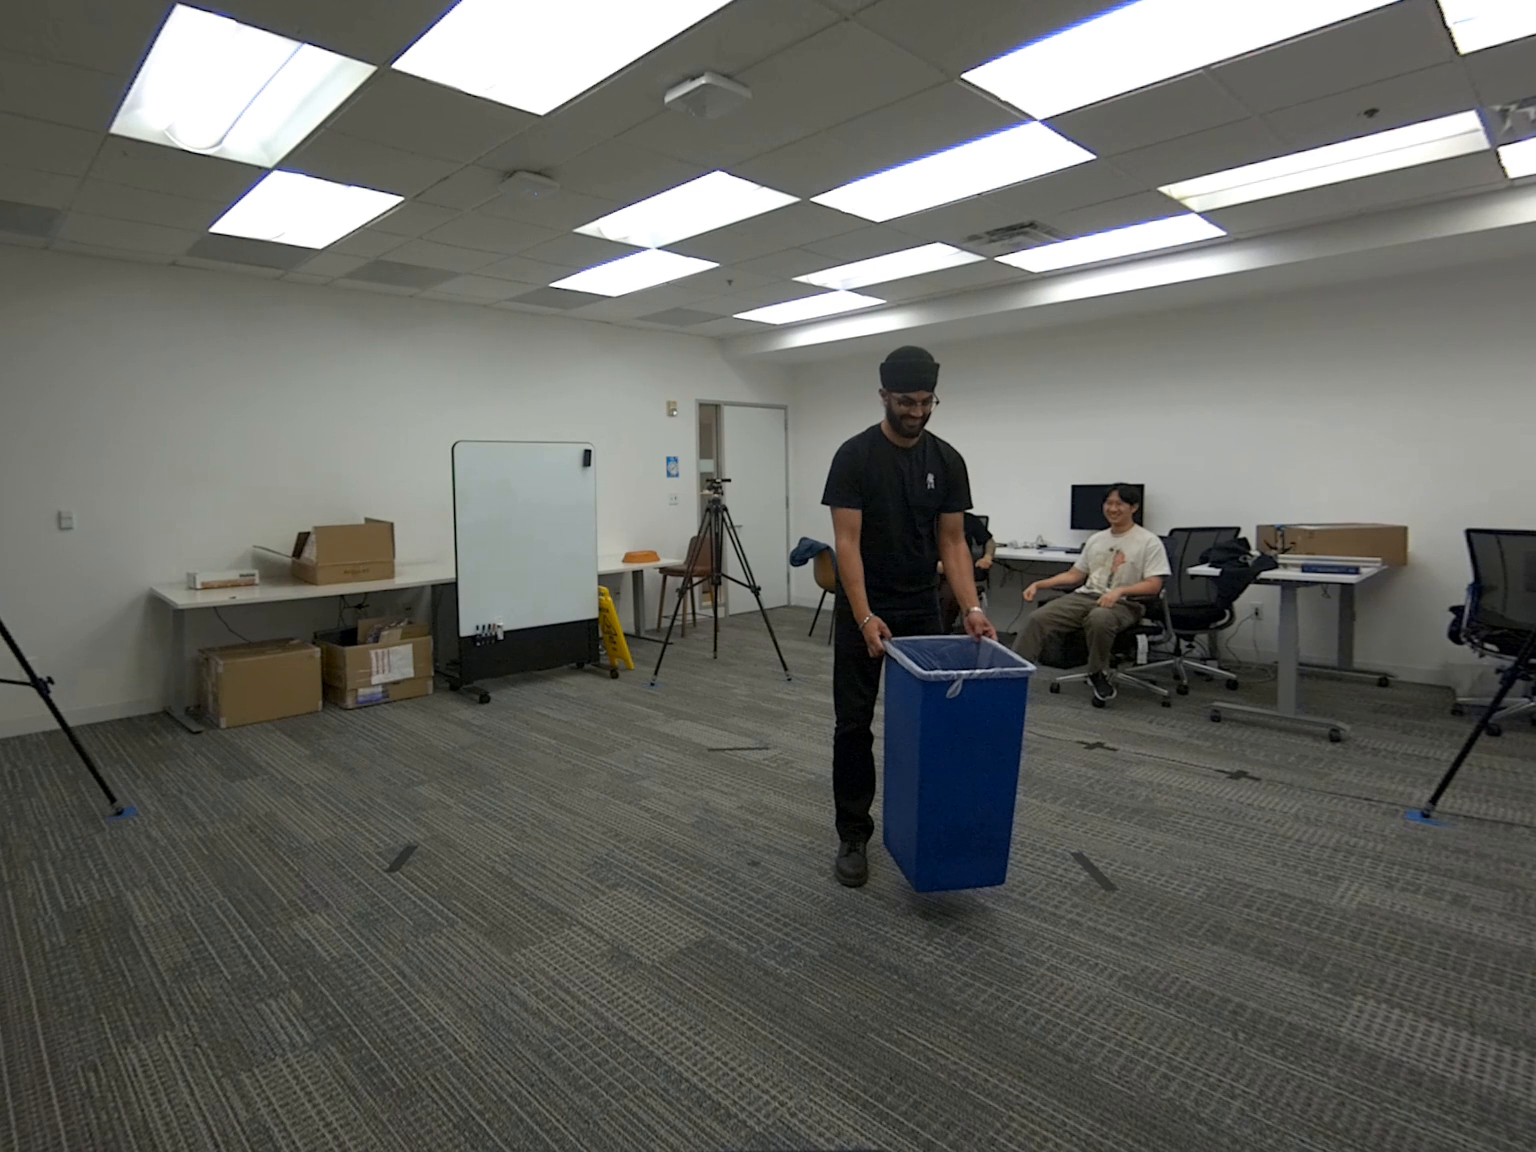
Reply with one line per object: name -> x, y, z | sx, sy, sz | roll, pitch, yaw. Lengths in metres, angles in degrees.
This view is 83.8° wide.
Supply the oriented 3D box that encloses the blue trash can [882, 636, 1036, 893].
blue trash can -> 0.572, 0.592, 2.729 | 0.374, 0.707, 0.381 | -1, 11, -10
